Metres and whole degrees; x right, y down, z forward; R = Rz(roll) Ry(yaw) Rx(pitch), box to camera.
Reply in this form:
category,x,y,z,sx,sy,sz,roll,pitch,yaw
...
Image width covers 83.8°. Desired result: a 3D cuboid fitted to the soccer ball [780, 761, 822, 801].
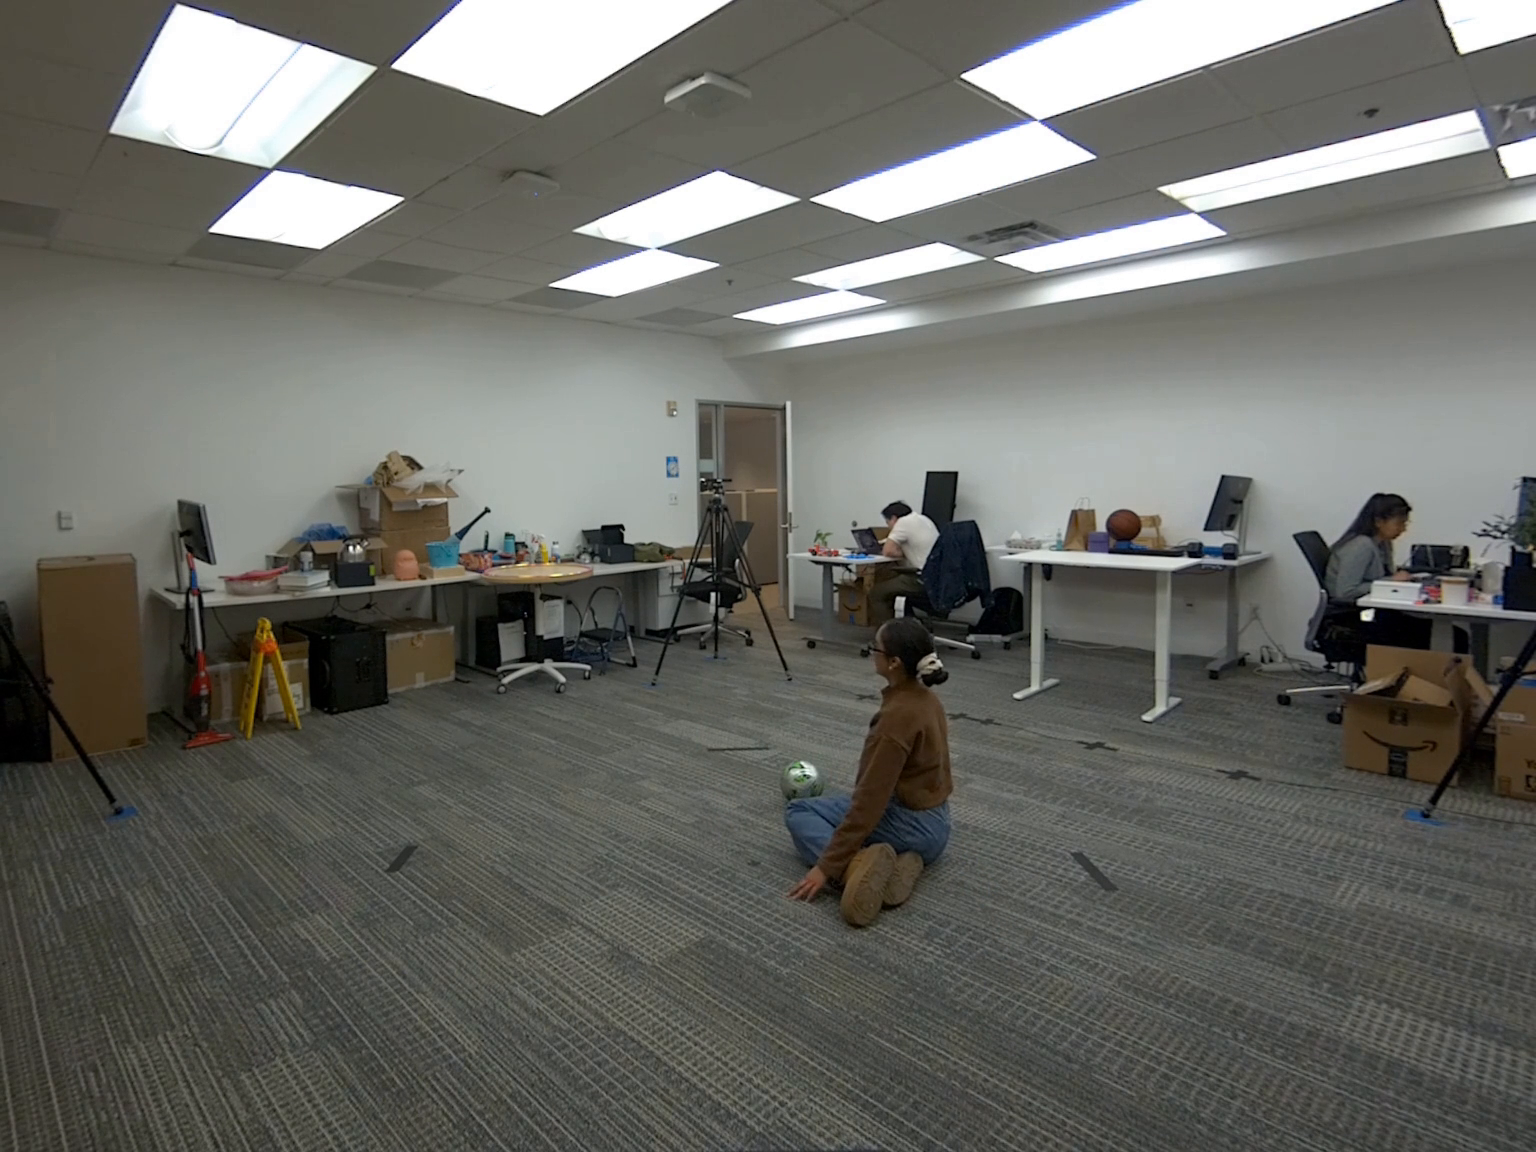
category,x,y,z,sx,sy,sz,roll,pitch,yaw
soccer ball,0.146,0.885,3.662,0.187,0.187,0.188,-1,5,-2
